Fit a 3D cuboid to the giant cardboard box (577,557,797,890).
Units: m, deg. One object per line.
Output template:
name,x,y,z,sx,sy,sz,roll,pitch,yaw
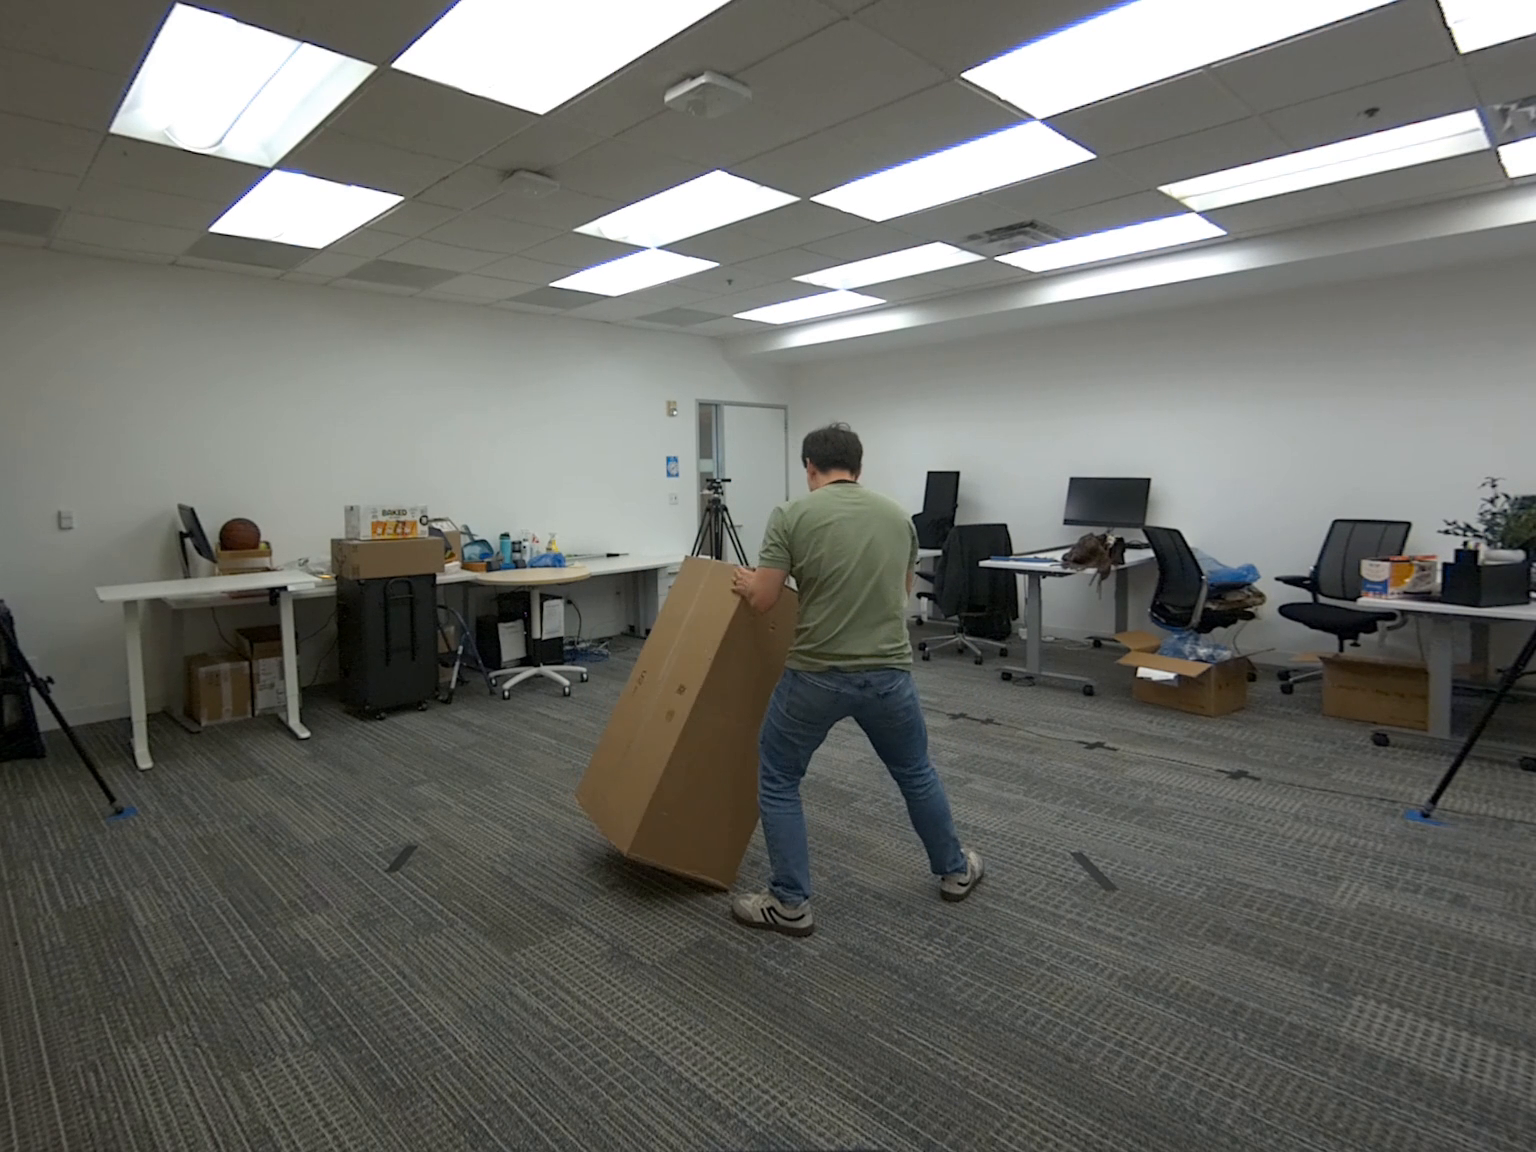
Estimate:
giant cardboard box,-0.229,0.494,3.149,0.413,1.030,0.593,29,-10,-28
